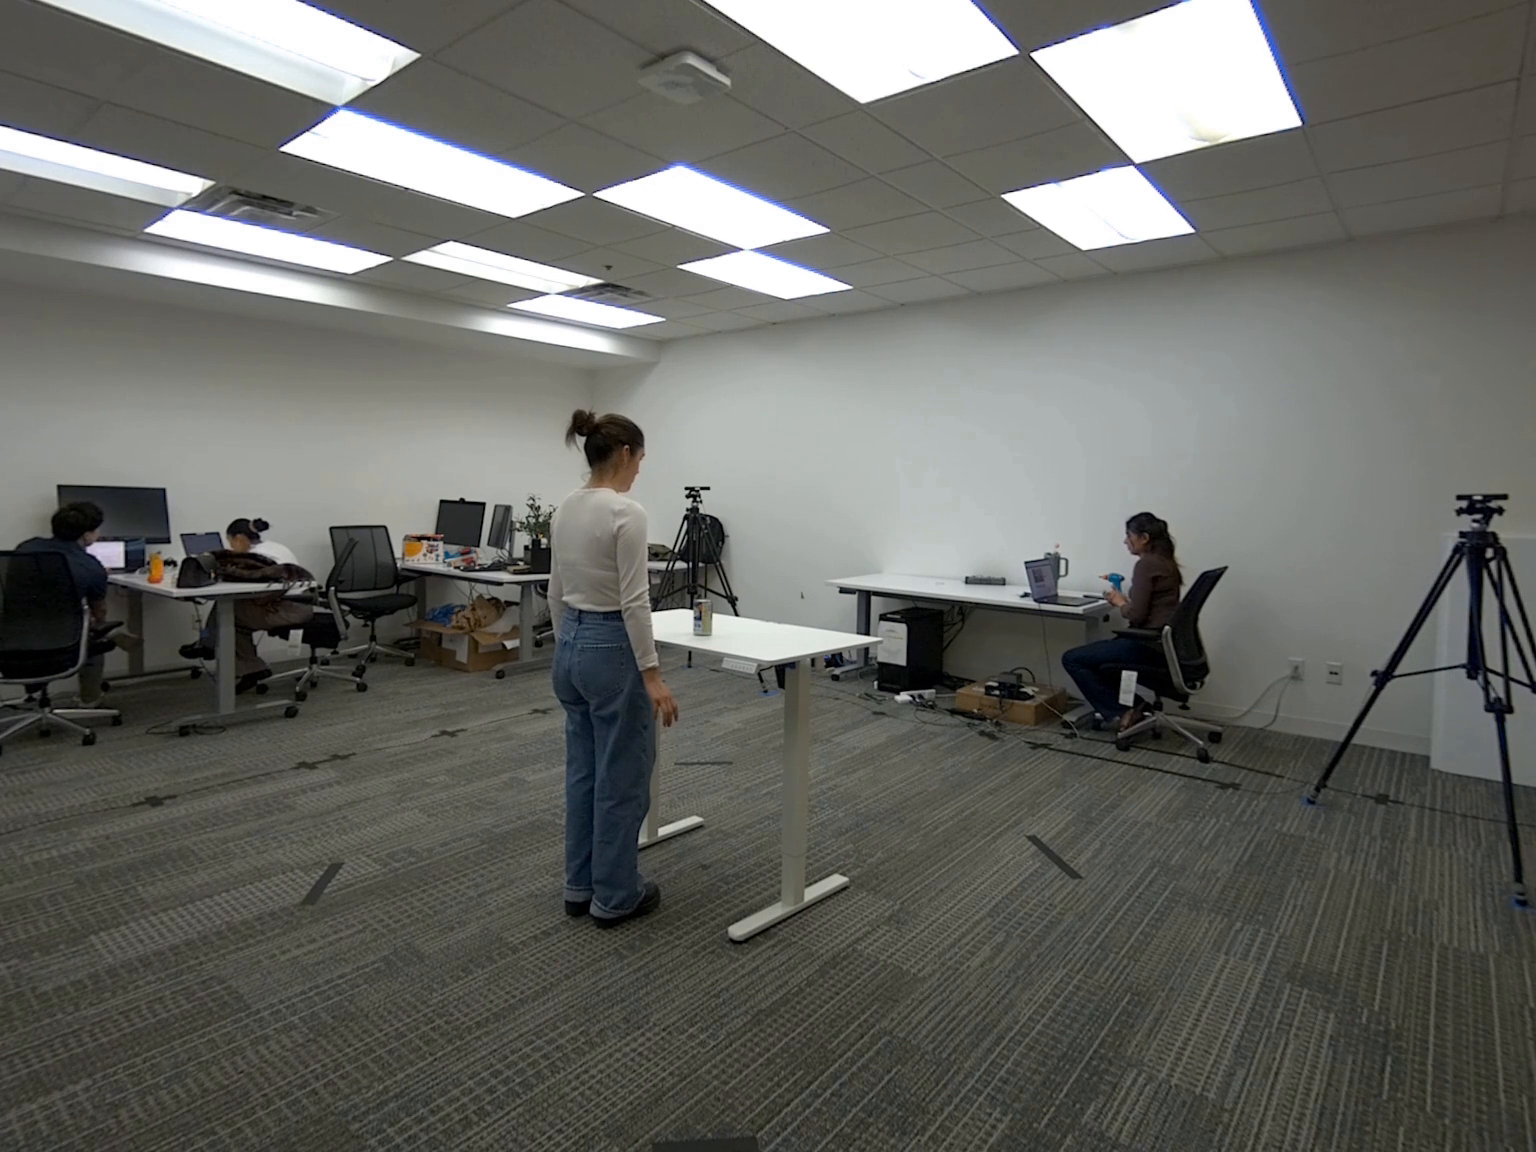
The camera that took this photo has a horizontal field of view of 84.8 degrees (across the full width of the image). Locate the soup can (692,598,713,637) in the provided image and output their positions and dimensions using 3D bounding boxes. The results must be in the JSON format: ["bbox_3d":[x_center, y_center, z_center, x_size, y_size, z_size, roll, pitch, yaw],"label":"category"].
[{"bbox_3d":[-0.235,0.140,2.909,0.067,0.121,0.067,0,3,-2],"label":"soup can"}]
